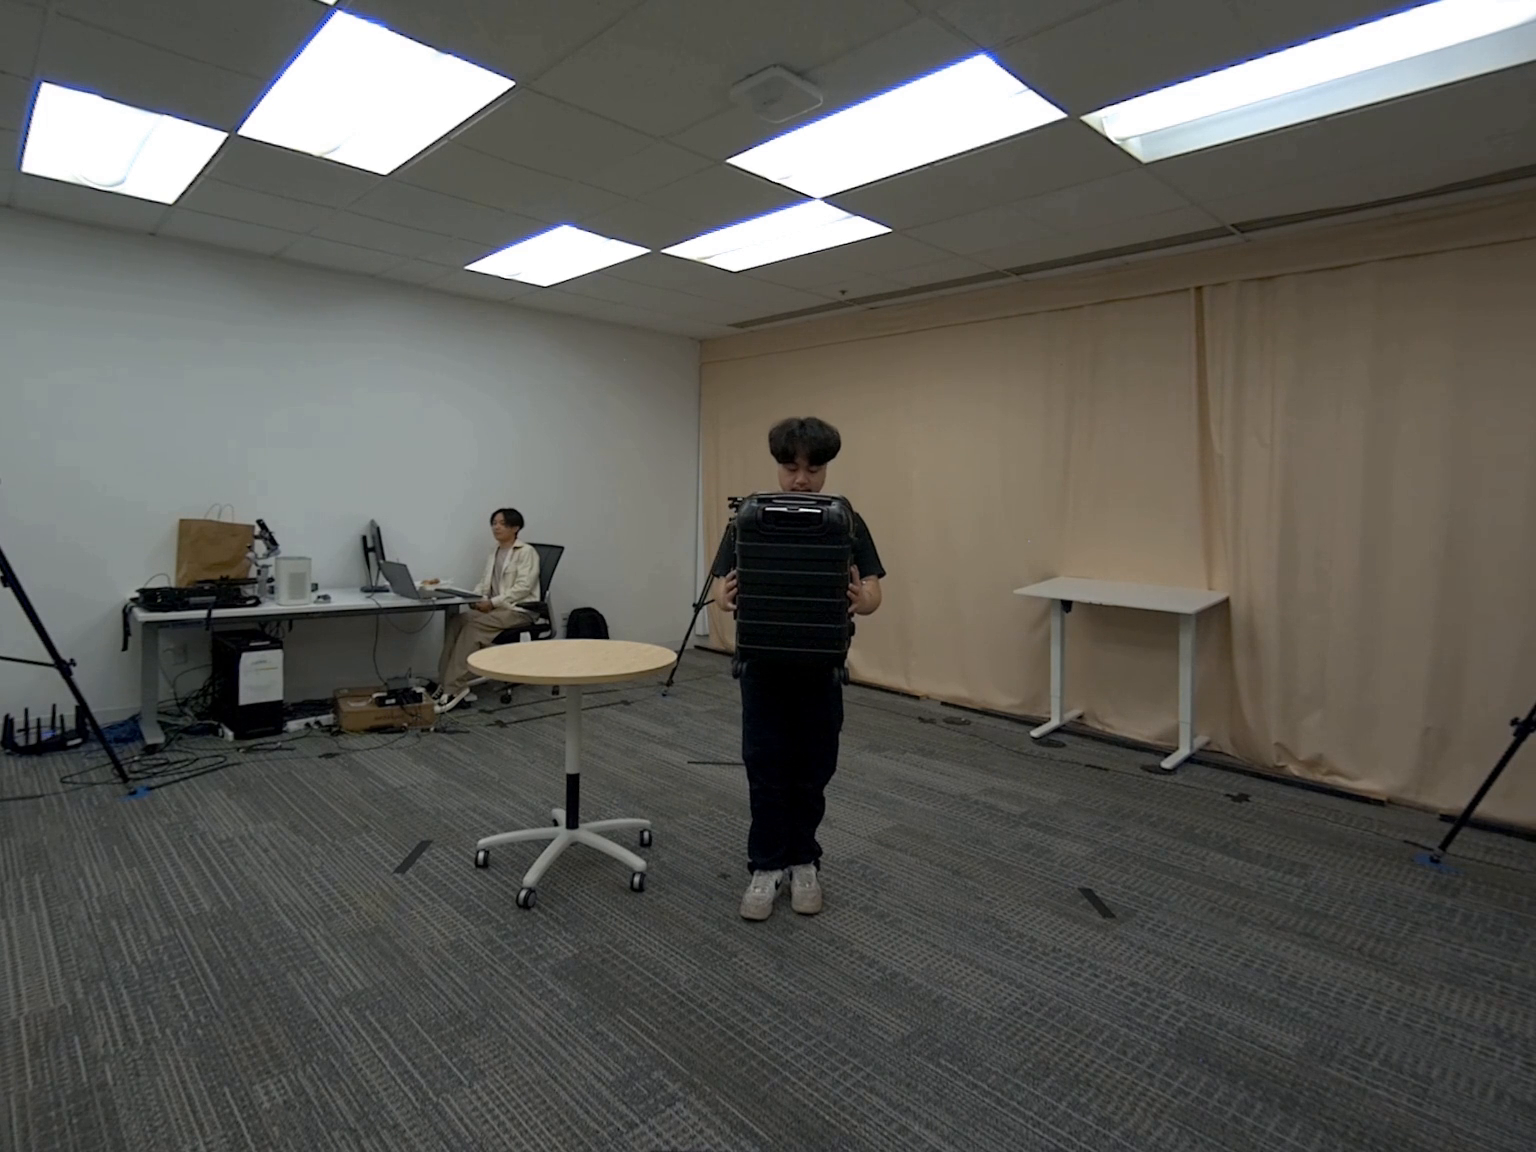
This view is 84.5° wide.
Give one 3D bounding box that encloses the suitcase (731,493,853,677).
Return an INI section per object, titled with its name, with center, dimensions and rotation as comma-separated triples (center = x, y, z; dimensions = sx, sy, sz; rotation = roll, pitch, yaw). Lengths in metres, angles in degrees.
[suitcase]
center = 0.073, 0.020, 2.557
dimensions = 0.379, 0.544, 0.249
rotation = 2, 14, 10
